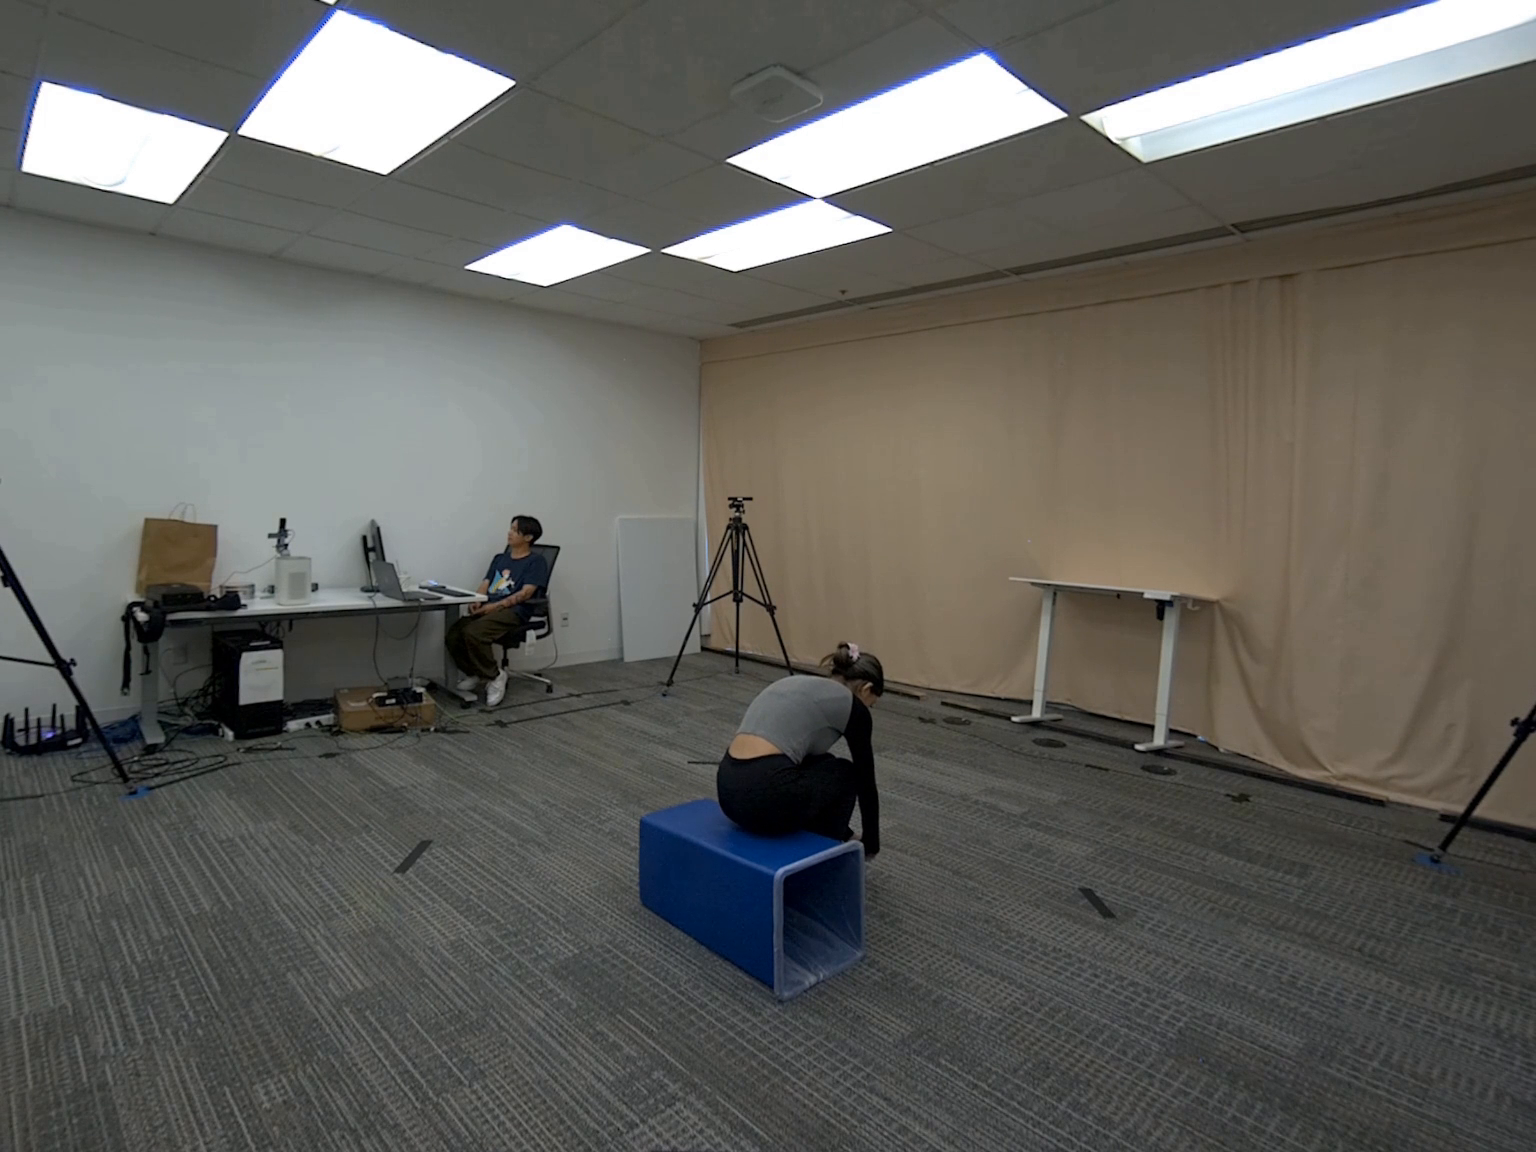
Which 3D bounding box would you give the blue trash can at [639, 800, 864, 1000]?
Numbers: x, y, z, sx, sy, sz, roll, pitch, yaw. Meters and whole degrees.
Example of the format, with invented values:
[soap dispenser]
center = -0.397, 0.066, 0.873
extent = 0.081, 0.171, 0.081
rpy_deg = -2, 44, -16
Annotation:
[blue trash can]
center = -0.093, 0.971, 2.695
extent = 0.369, 0.373, 0.731
rpy_deg = -3, 4, -44
